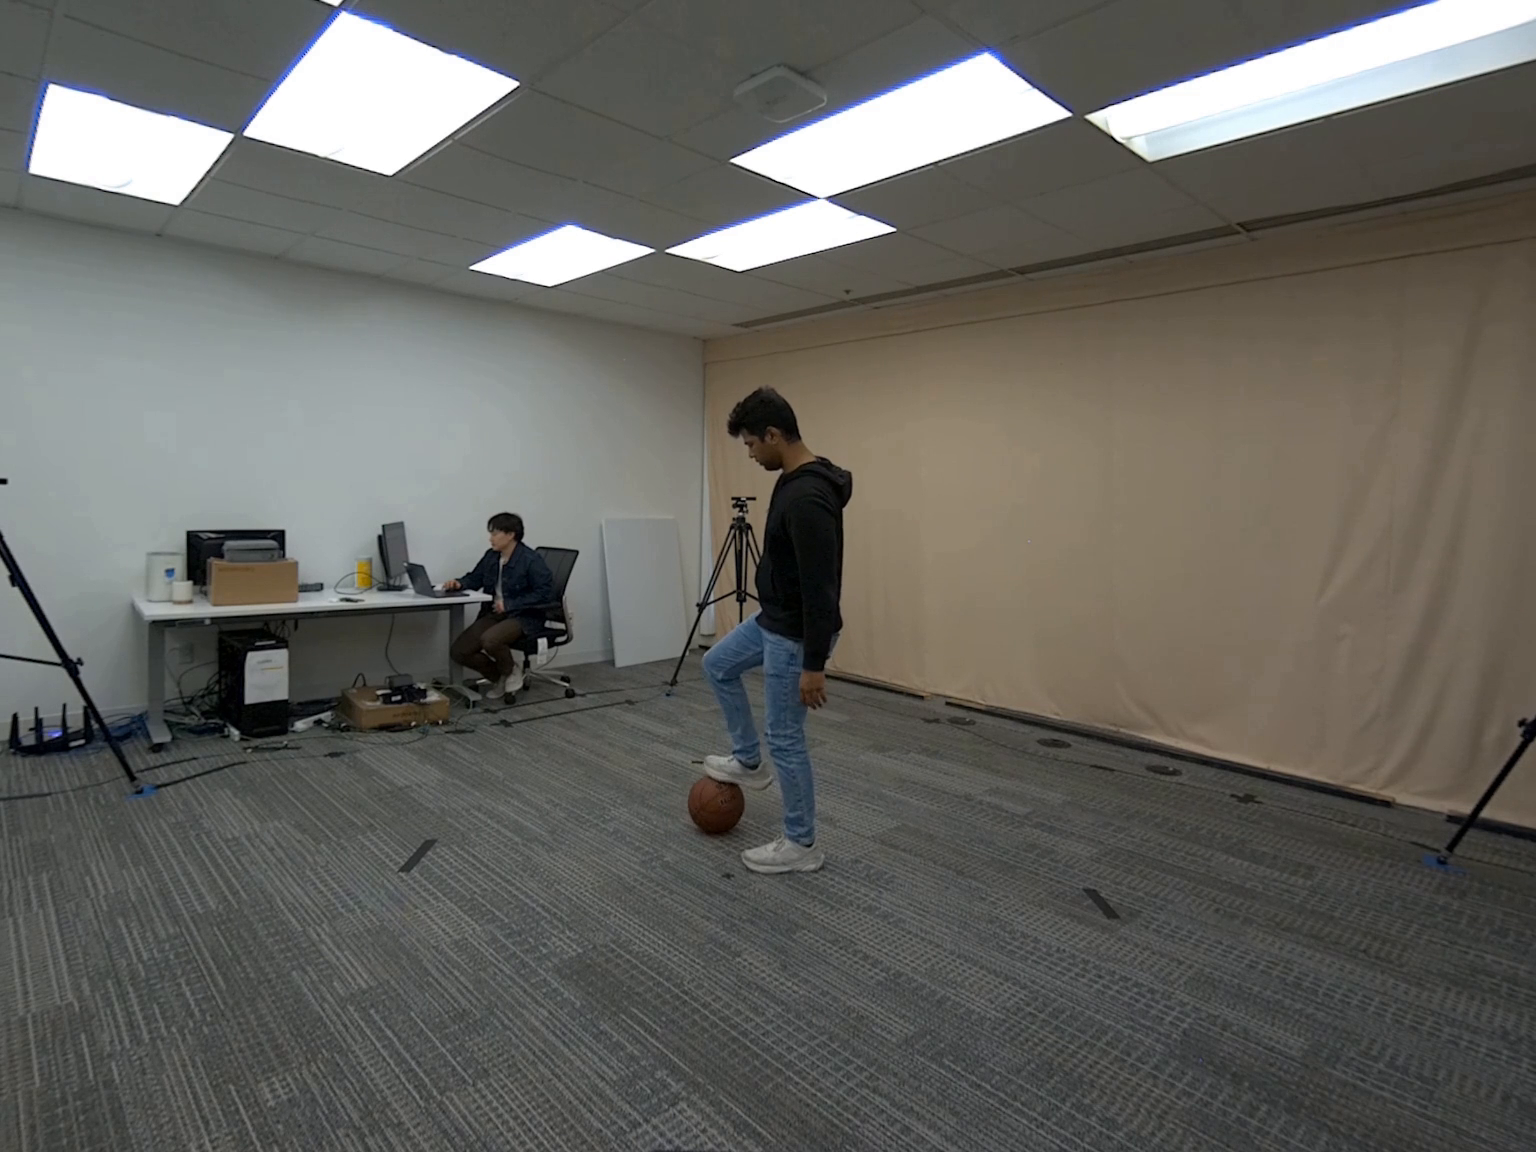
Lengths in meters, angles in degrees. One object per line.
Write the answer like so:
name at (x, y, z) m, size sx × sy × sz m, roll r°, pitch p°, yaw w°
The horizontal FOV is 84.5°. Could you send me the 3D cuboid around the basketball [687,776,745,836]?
basketball at (-0.227, 0.947, 3.514) m, size 0.236 × 0.235 × 0.237 m, roll 1°, pitch 4°, yaw -1°
